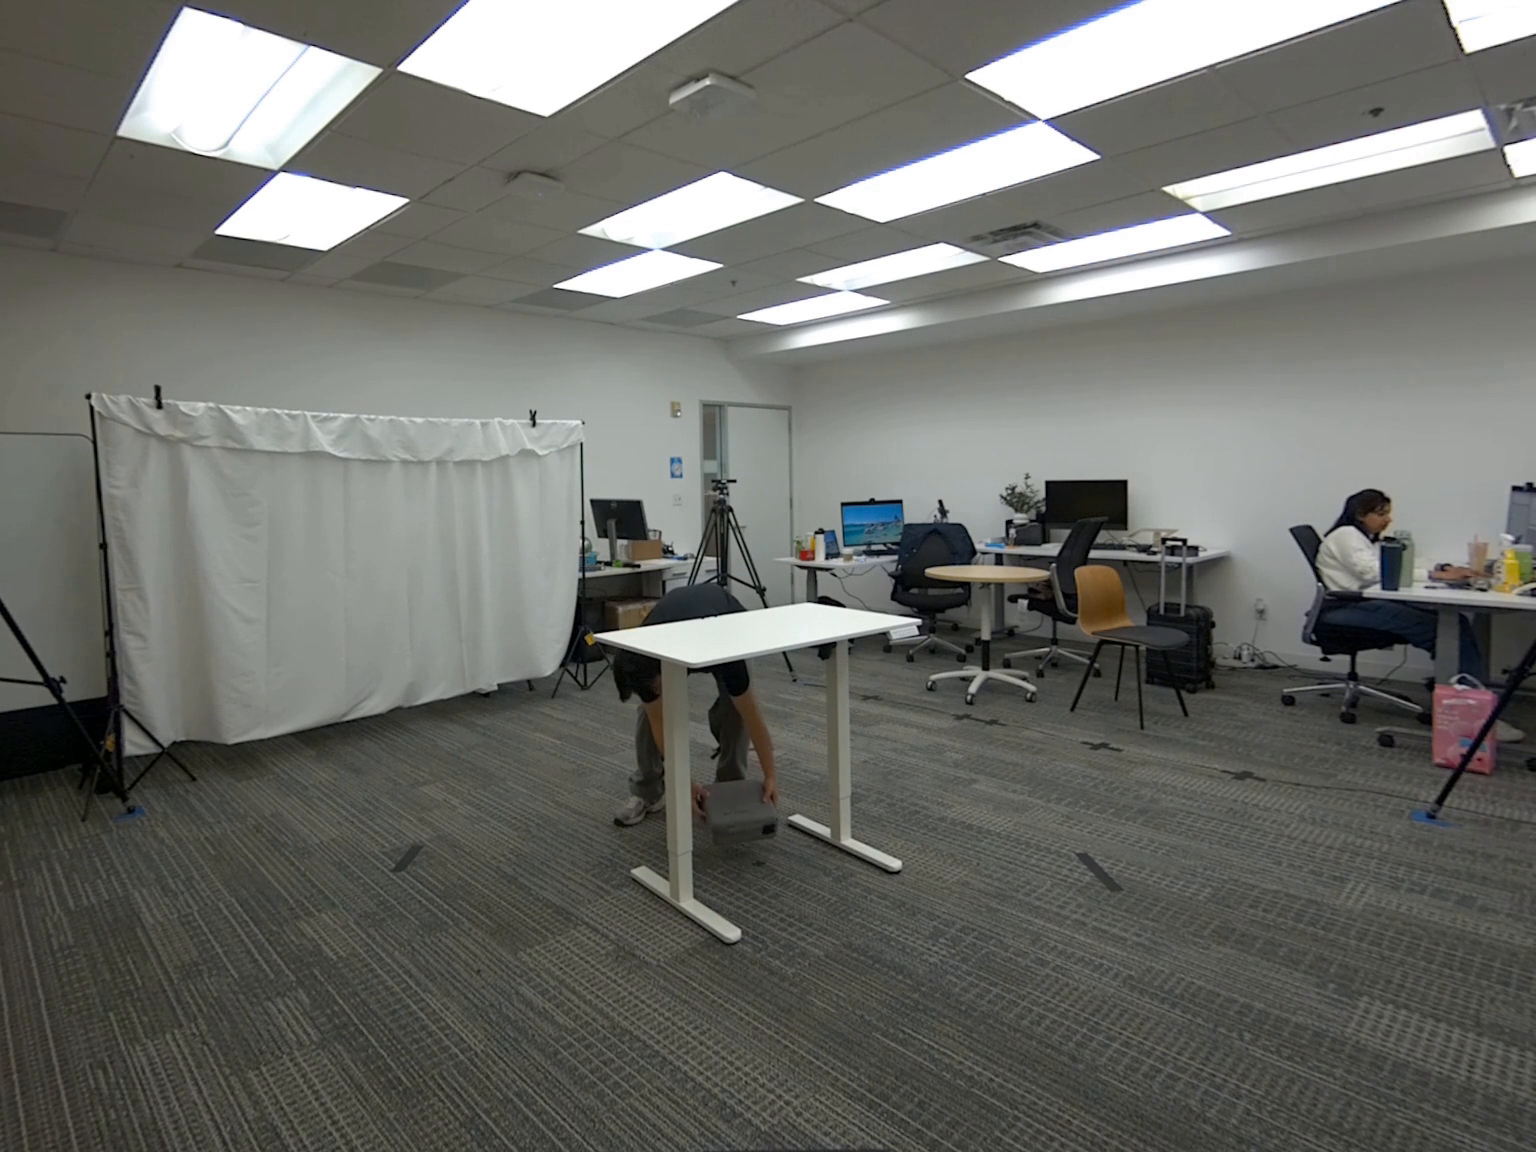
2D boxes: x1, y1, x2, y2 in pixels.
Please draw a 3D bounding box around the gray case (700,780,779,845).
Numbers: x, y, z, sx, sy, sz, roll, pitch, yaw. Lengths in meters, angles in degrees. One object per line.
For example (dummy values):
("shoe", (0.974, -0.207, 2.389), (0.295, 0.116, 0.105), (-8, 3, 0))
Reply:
("gray case", (-0.106, 0.885, 3.184), (0.260, 0.101, 0.295), (-4, 22, -13))
